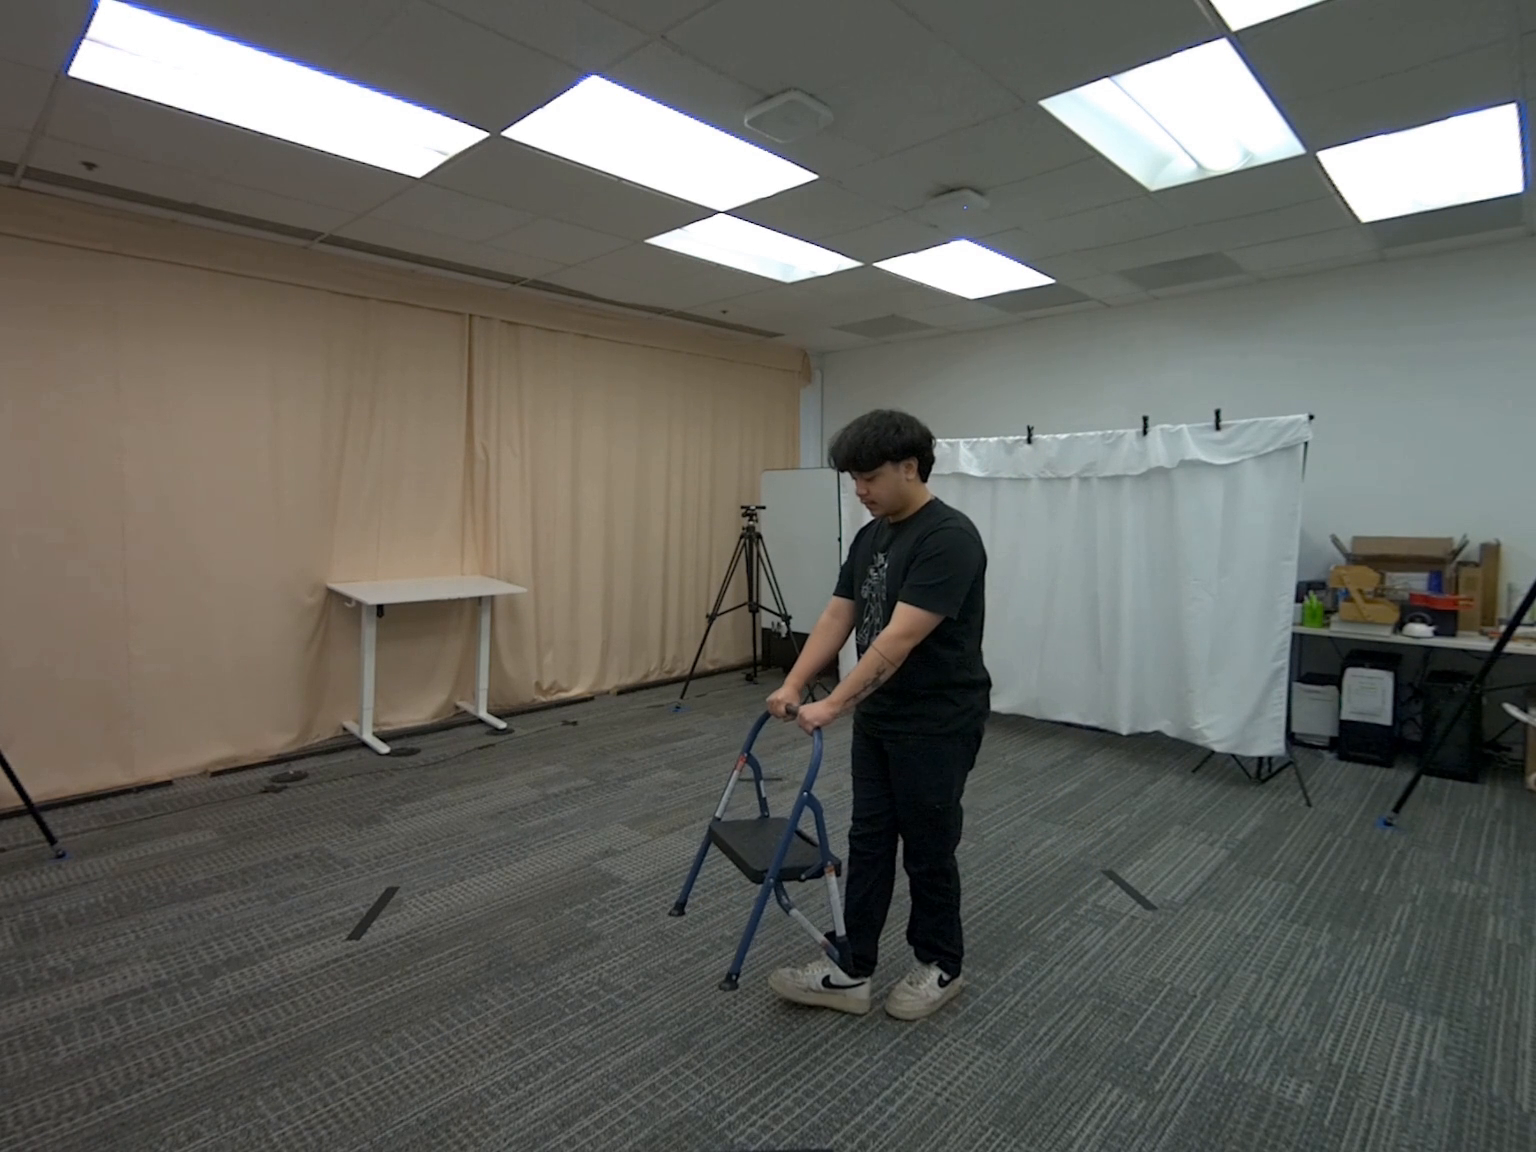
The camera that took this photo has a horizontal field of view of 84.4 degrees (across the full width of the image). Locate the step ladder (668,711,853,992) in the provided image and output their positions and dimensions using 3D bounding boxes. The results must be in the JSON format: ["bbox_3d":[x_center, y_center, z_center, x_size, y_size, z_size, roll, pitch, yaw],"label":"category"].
[{"bbox_3d":[-0.003,0.659,2.183,0.341,0.606,0.441,4,1,-23],"label":"step ladder"}]
